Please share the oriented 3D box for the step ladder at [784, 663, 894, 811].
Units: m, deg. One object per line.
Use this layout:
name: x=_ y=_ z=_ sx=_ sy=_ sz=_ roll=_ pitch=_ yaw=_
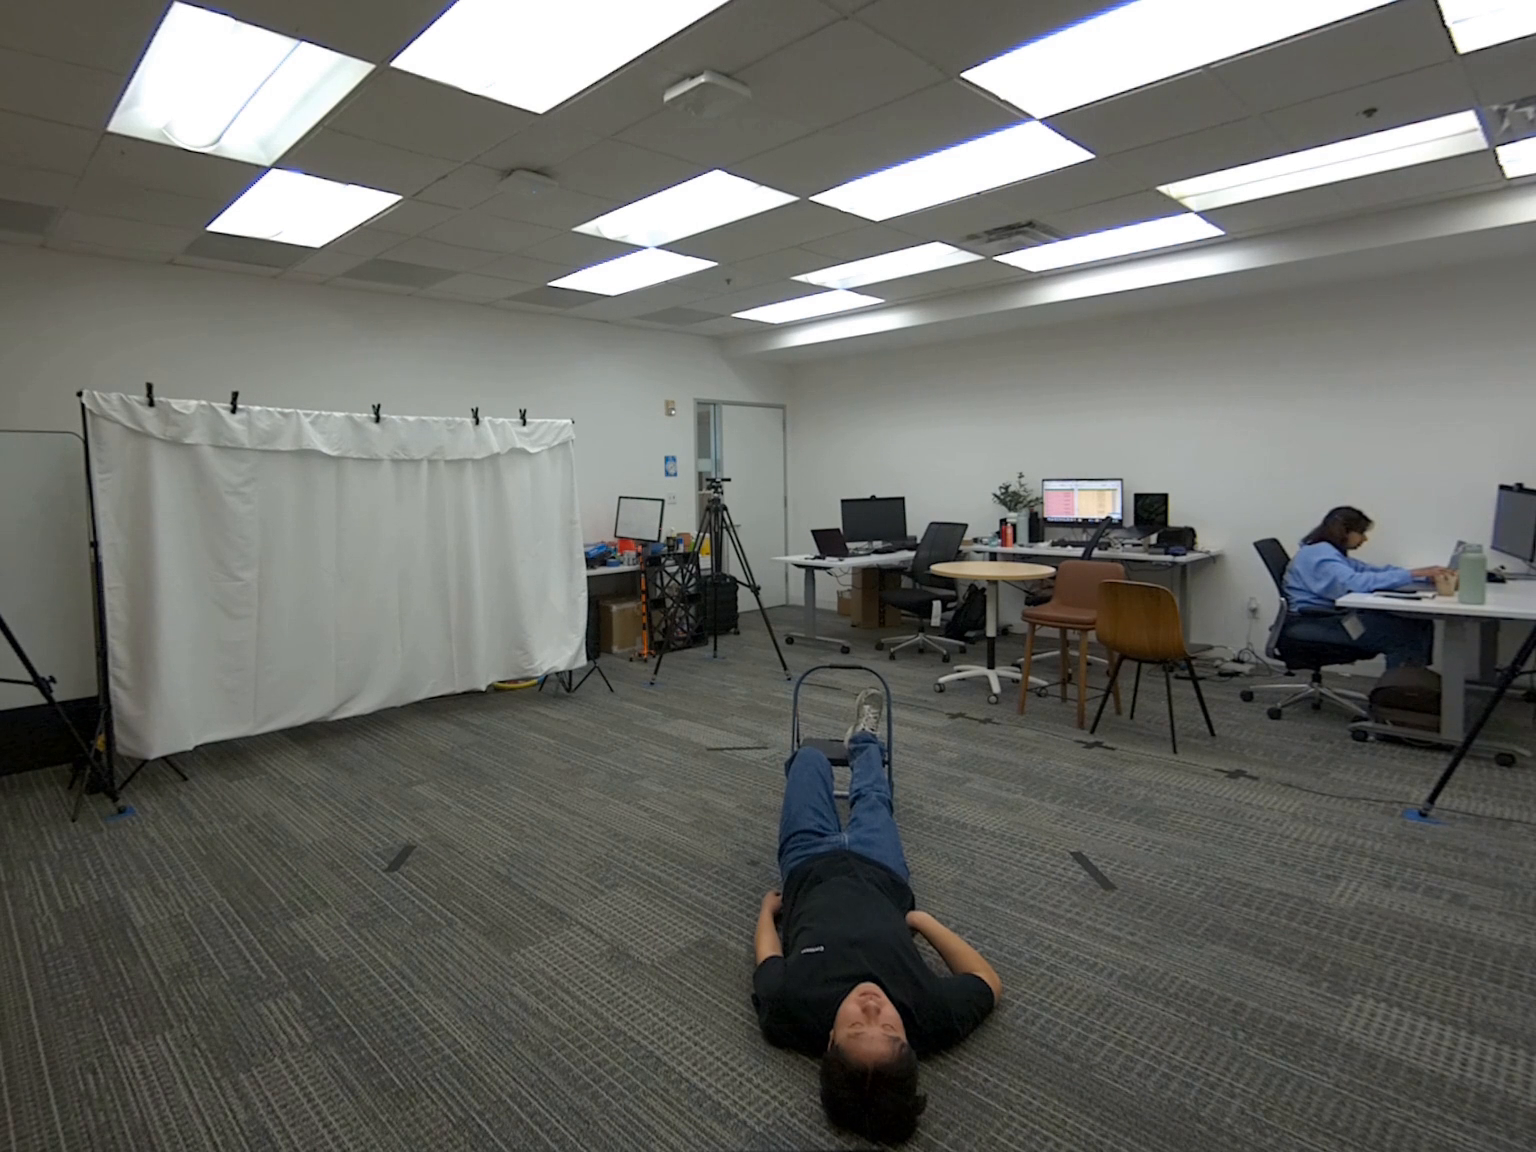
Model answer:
step ladder: x=0.311 y=0.685 z=3.552 sx=0.435 sy=0.604 sz=0.347 roll=0 pitch=4 yaw=9
